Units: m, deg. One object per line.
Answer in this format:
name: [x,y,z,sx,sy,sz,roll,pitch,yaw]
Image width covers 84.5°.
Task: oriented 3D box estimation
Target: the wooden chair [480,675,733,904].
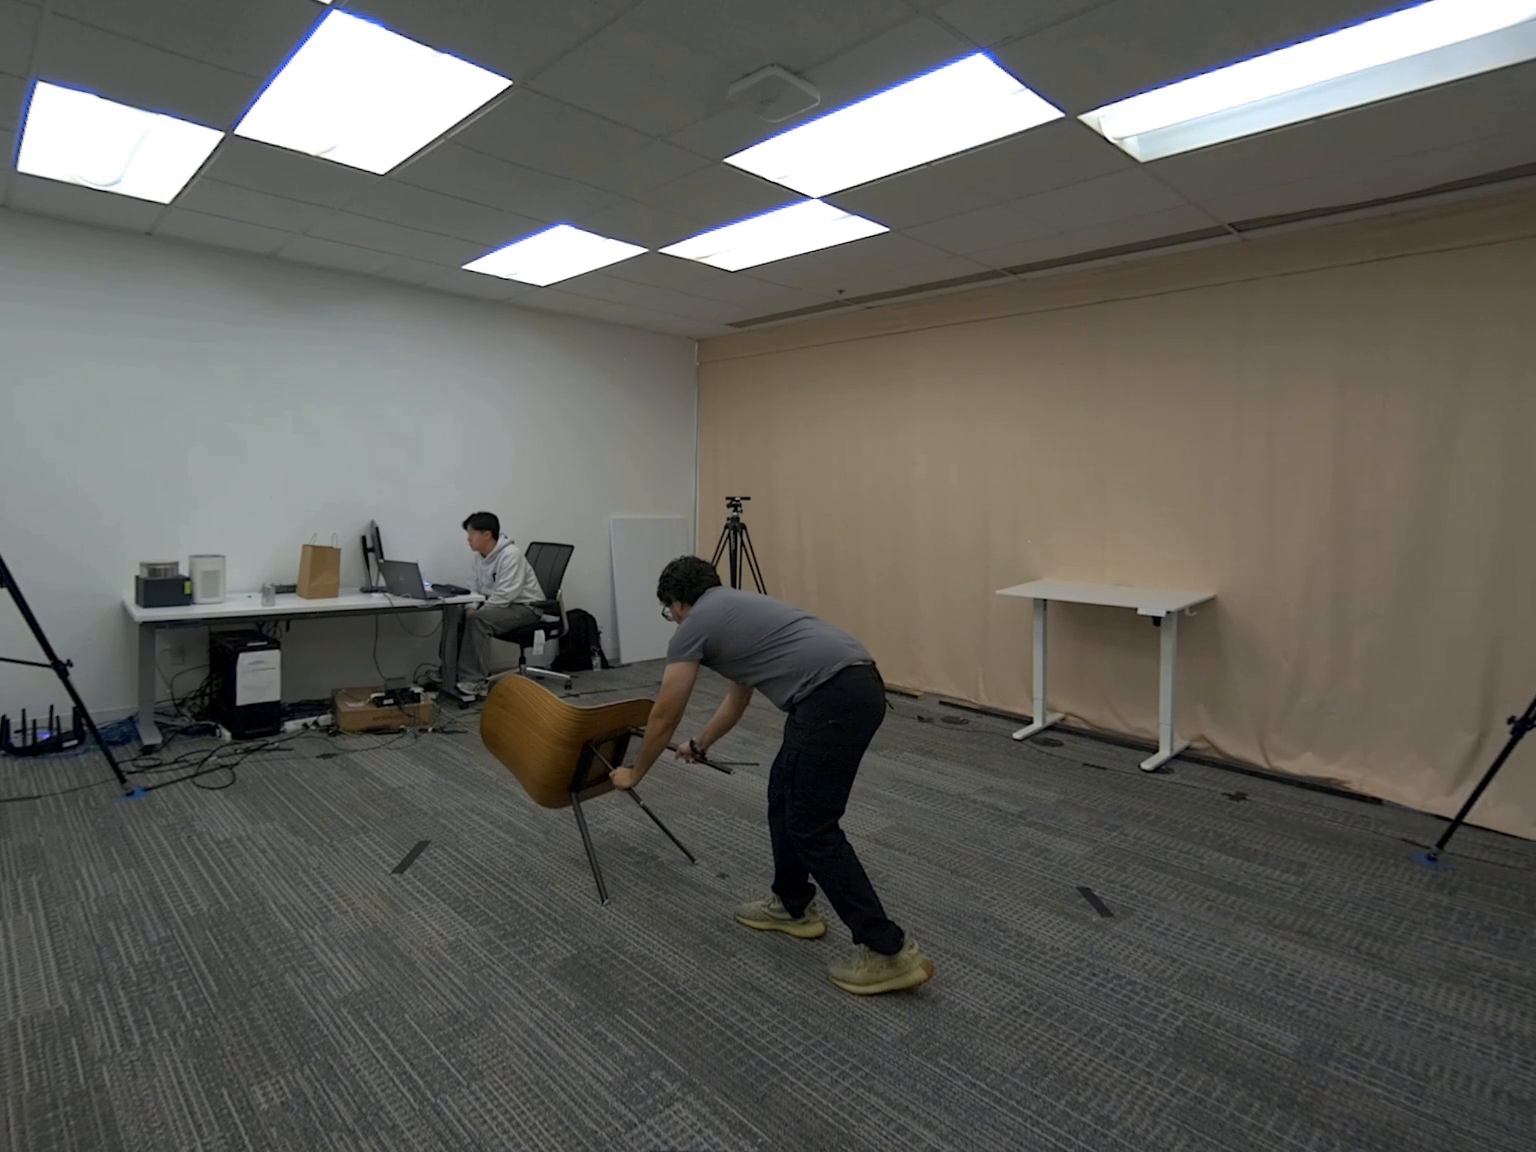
wooden chair: [-0.637,0.709,3.211,0.902,0.474,0.512,32,22,31]
